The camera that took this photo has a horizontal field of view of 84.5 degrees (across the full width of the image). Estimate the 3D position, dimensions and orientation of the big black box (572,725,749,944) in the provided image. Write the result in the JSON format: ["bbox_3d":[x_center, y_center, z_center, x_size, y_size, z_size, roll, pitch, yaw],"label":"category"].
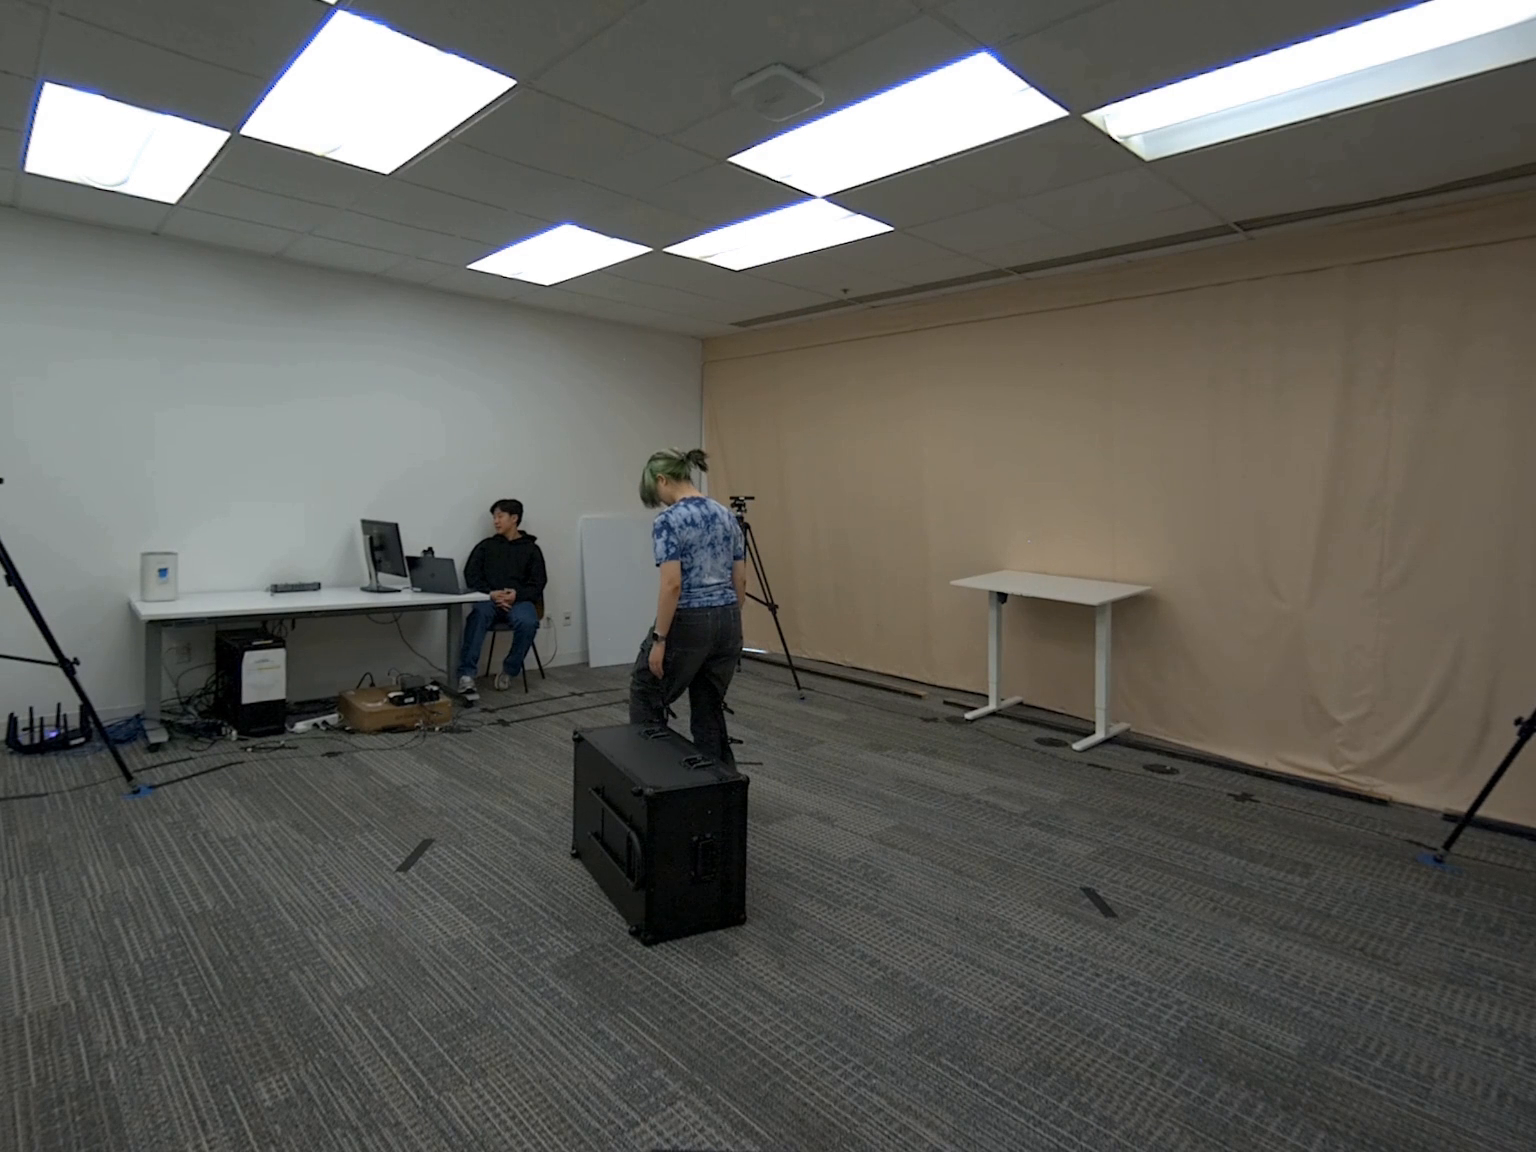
[{"bbox_3d":[-0.446,0.864,3.021,0.389,0.520,0.880,-1,5,-28],"label":"big black box"}]
